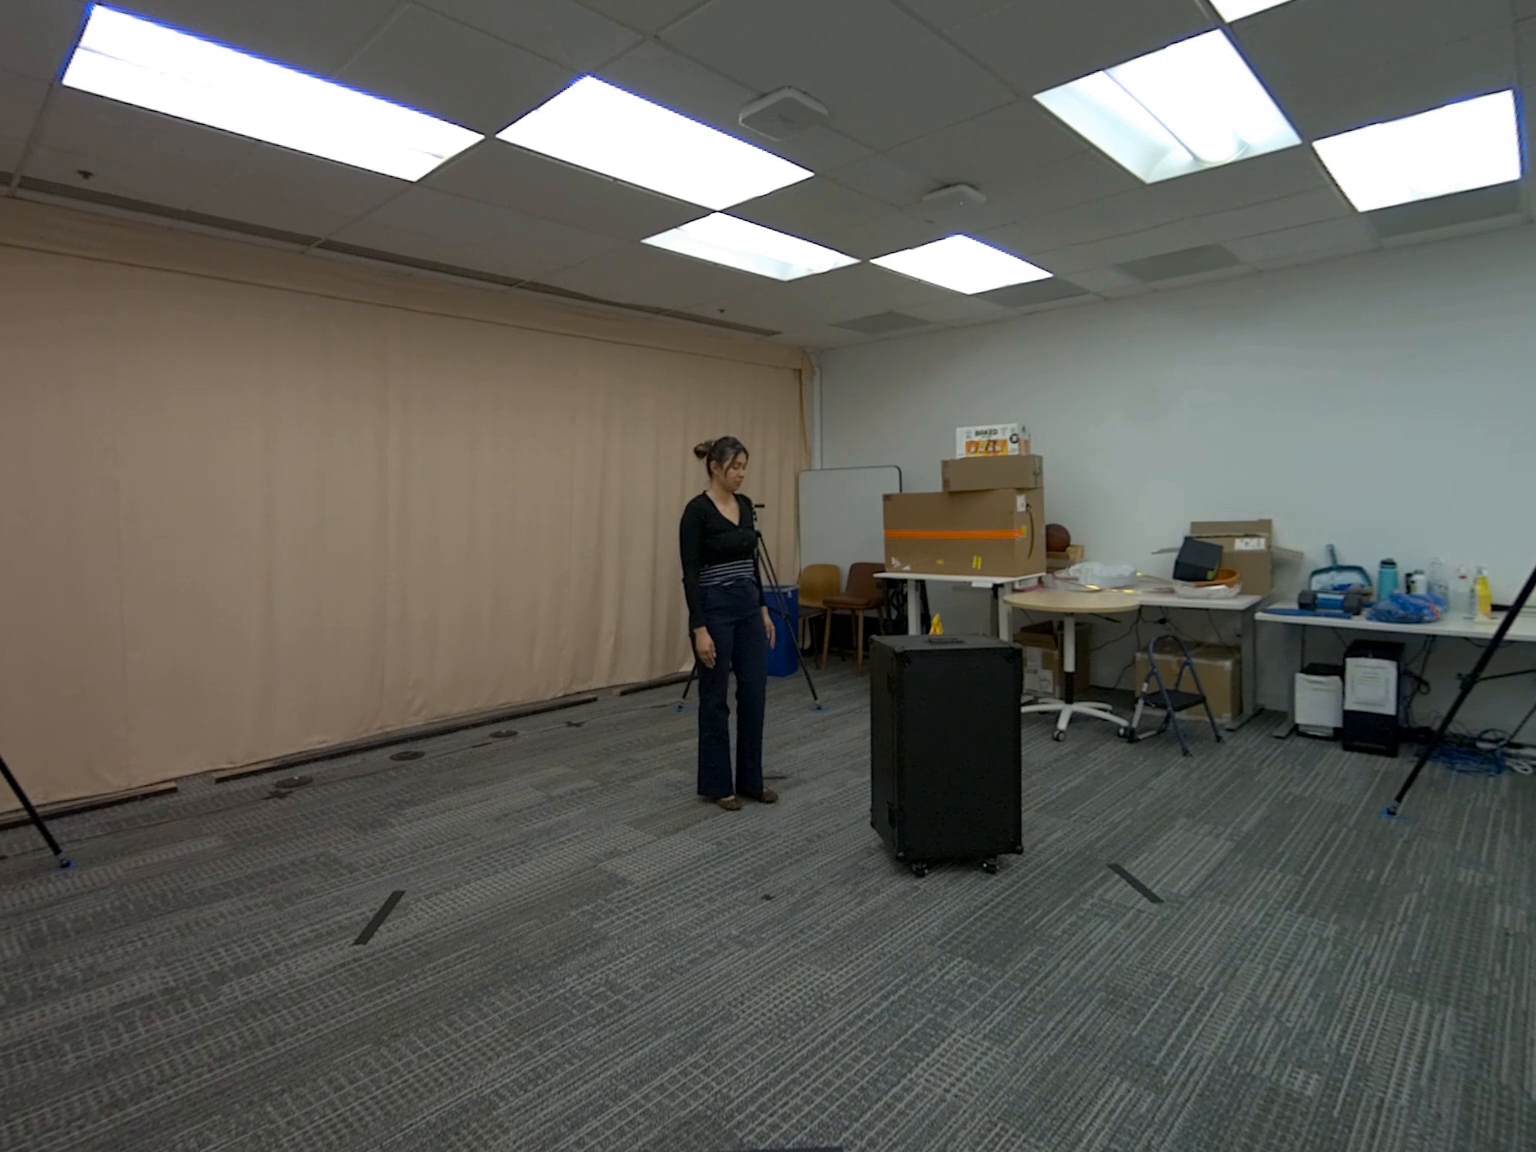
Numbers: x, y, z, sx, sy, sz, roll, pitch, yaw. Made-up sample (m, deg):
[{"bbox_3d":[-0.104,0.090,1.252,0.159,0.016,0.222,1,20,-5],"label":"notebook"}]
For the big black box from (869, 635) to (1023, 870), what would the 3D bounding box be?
[{"bbox_3d":[0.680,0.673,3.297,0.518,0.860,0.399,-1,2,-6],"label":"big black box"}]
